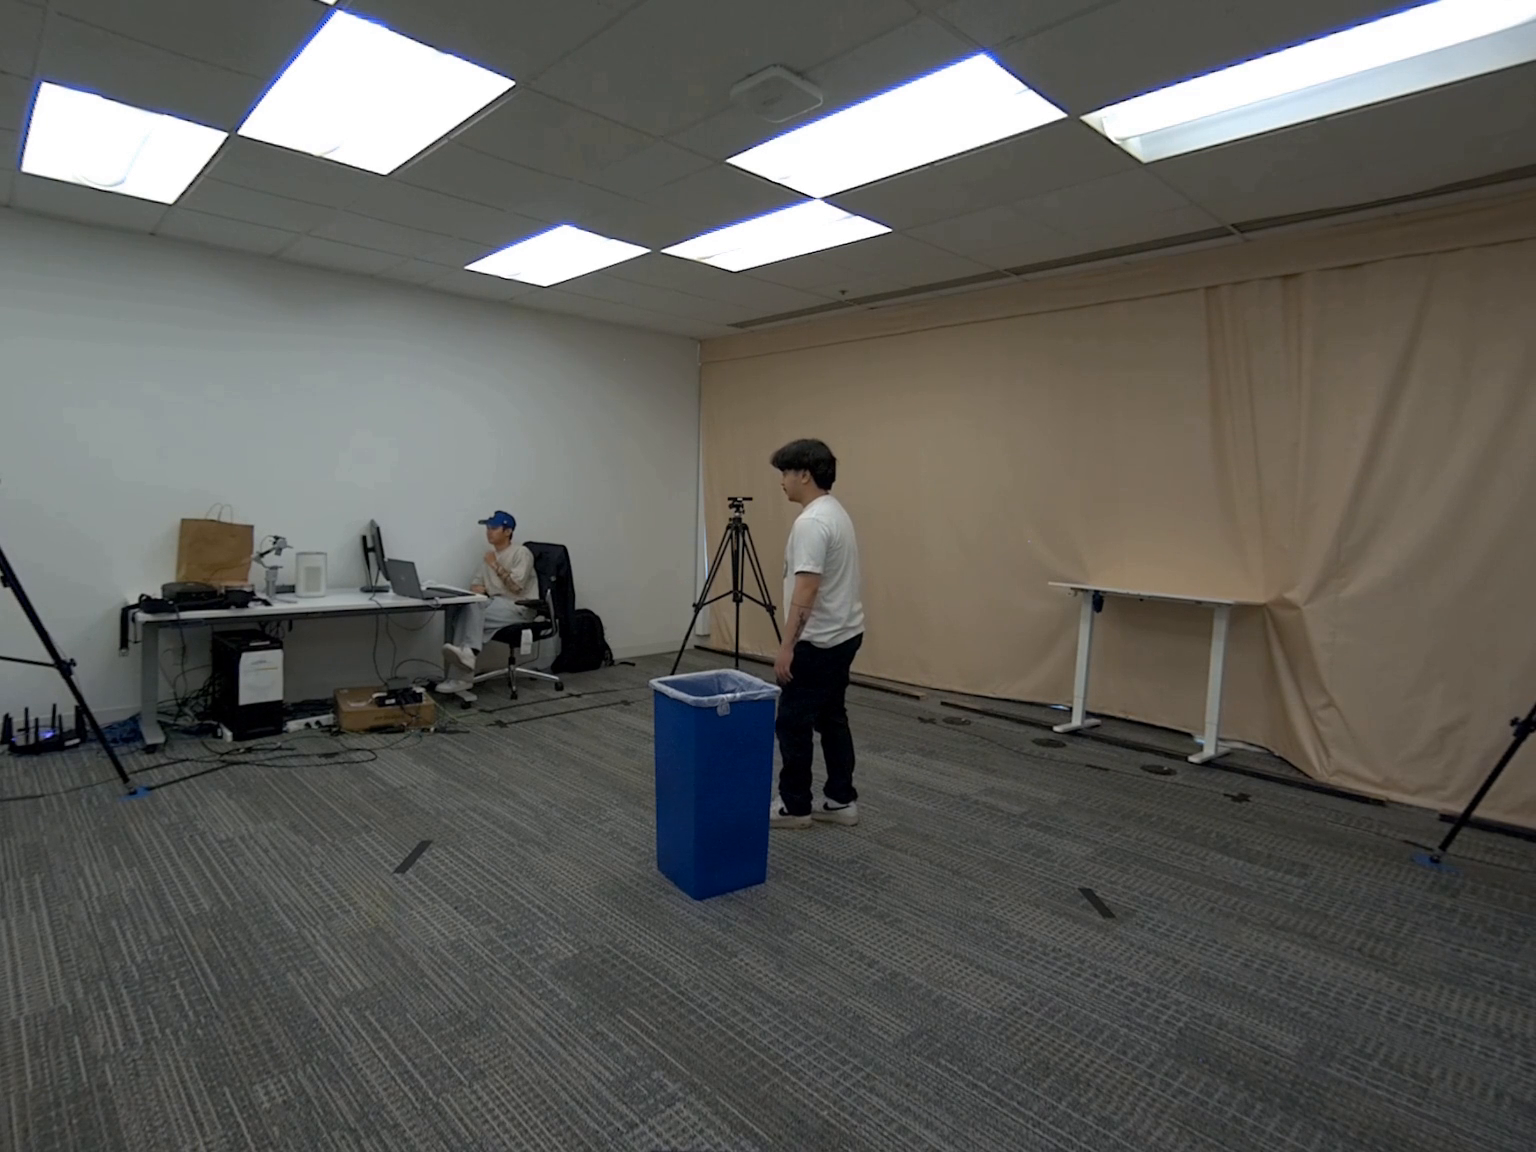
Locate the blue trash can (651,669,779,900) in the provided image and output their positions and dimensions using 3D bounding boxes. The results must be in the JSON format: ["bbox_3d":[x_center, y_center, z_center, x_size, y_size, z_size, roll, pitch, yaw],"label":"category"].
[{"bbox_3d":[-0.216,0.749,3.094,0.370,0.712,0.383,-1,4,-34],"label":"blue trash can"}]
